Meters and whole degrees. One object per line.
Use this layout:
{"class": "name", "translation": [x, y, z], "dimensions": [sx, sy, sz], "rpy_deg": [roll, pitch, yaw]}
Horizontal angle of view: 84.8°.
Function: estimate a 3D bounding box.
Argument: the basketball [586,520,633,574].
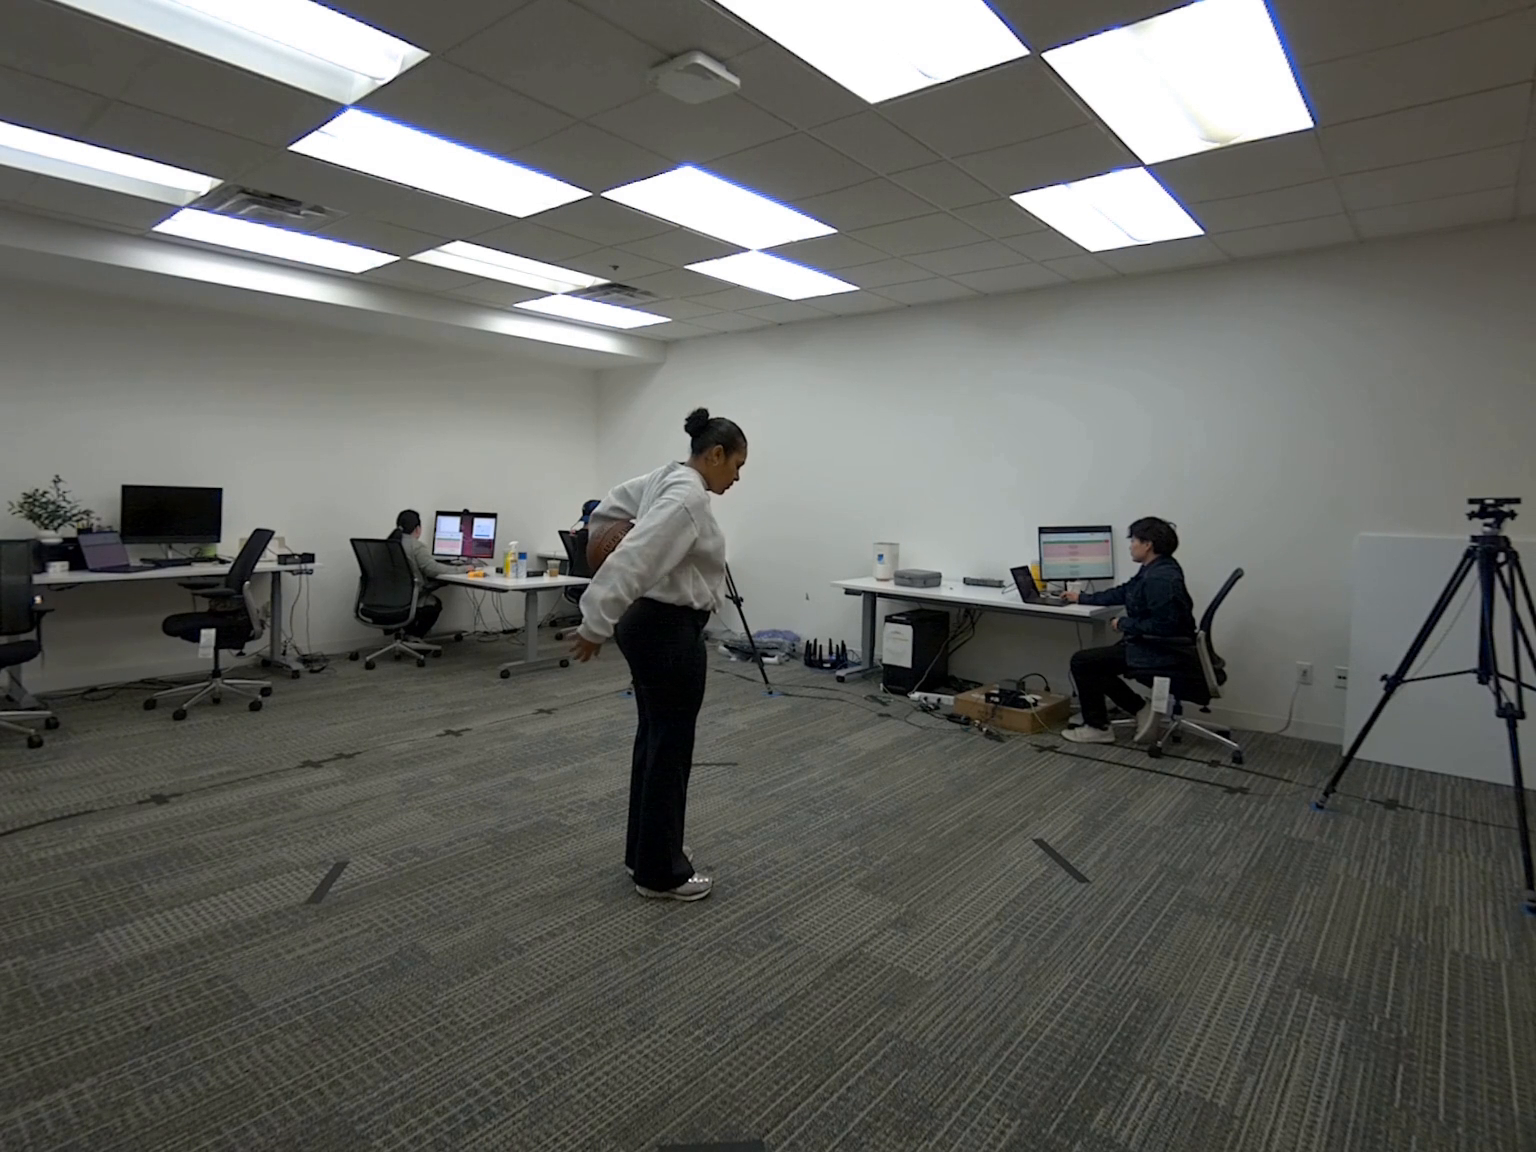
{"class": "basketball", "translation": [-0.542, -0.088, 3.108], "dimensions": [0.235, 0.235, 0.237], "rpy_deg": [1, 4, -2]}
